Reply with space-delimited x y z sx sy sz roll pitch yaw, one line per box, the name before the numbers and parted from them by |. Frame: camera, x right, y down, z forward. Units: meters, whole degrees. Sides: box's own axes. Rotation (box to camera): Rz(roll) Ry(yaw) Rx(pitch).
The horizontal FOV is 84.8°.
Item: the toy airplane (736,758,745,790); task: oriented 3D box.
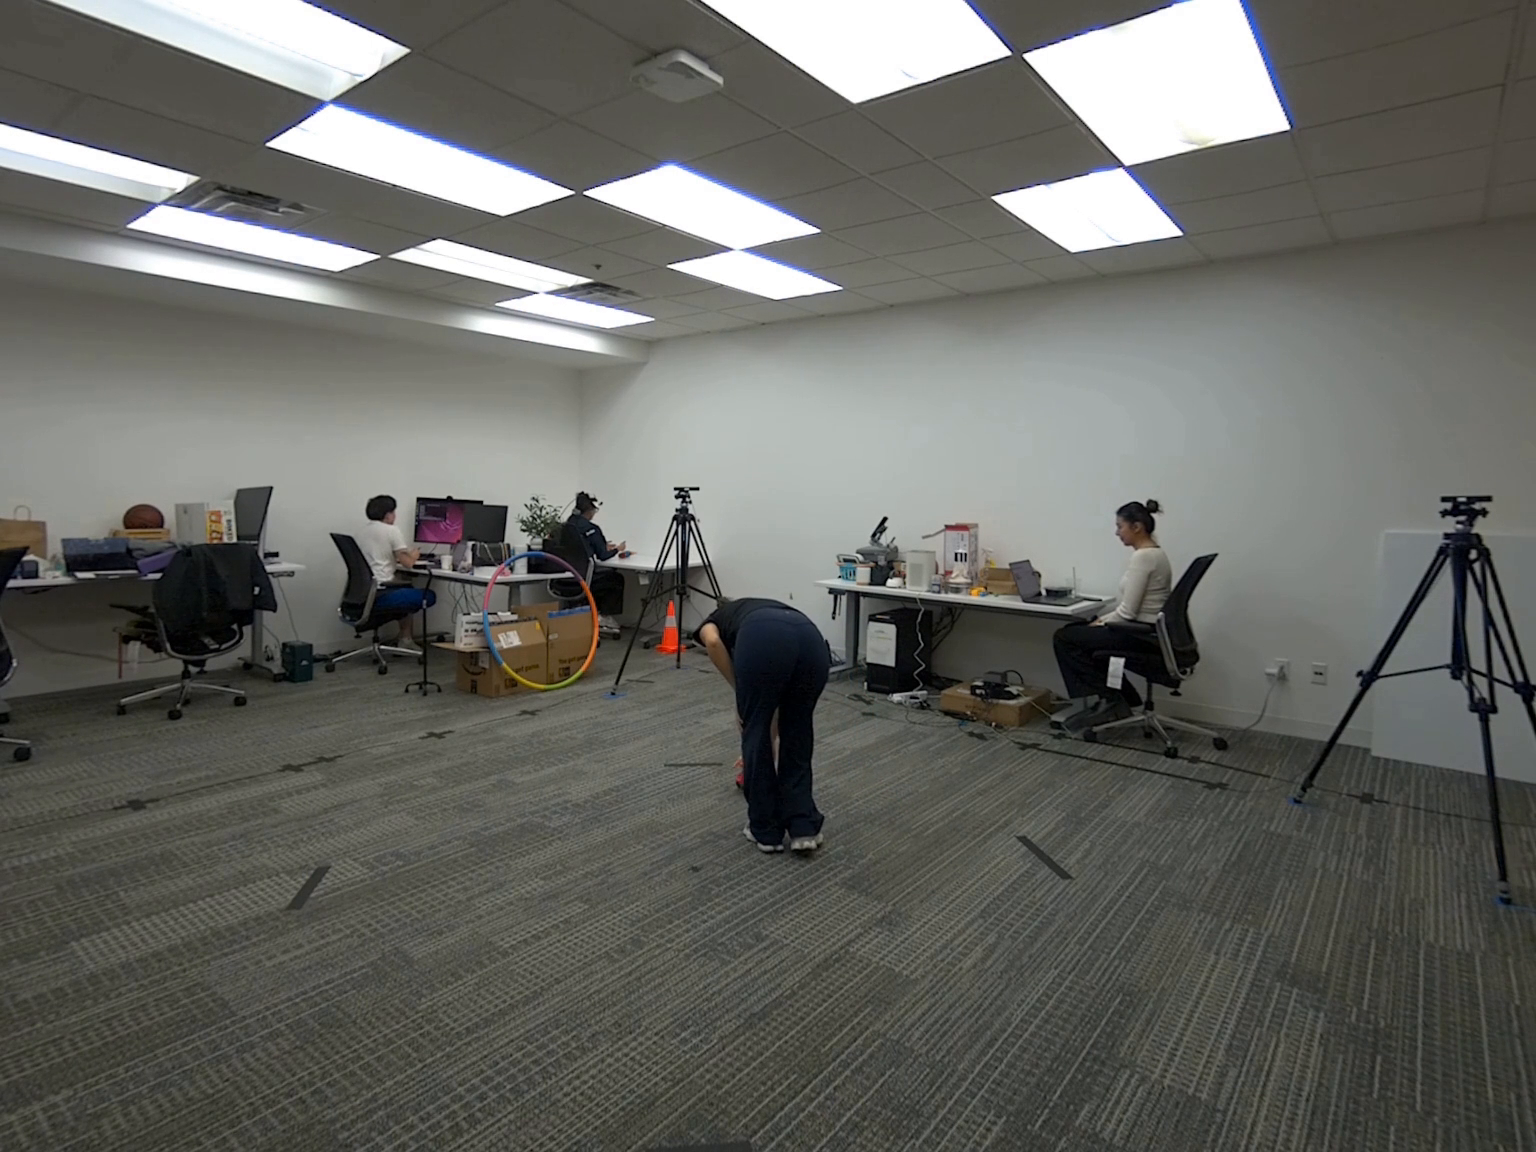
toy airplane | 0.022 0.904 3.972 0.260 0.156 0.252 -1 6 2
